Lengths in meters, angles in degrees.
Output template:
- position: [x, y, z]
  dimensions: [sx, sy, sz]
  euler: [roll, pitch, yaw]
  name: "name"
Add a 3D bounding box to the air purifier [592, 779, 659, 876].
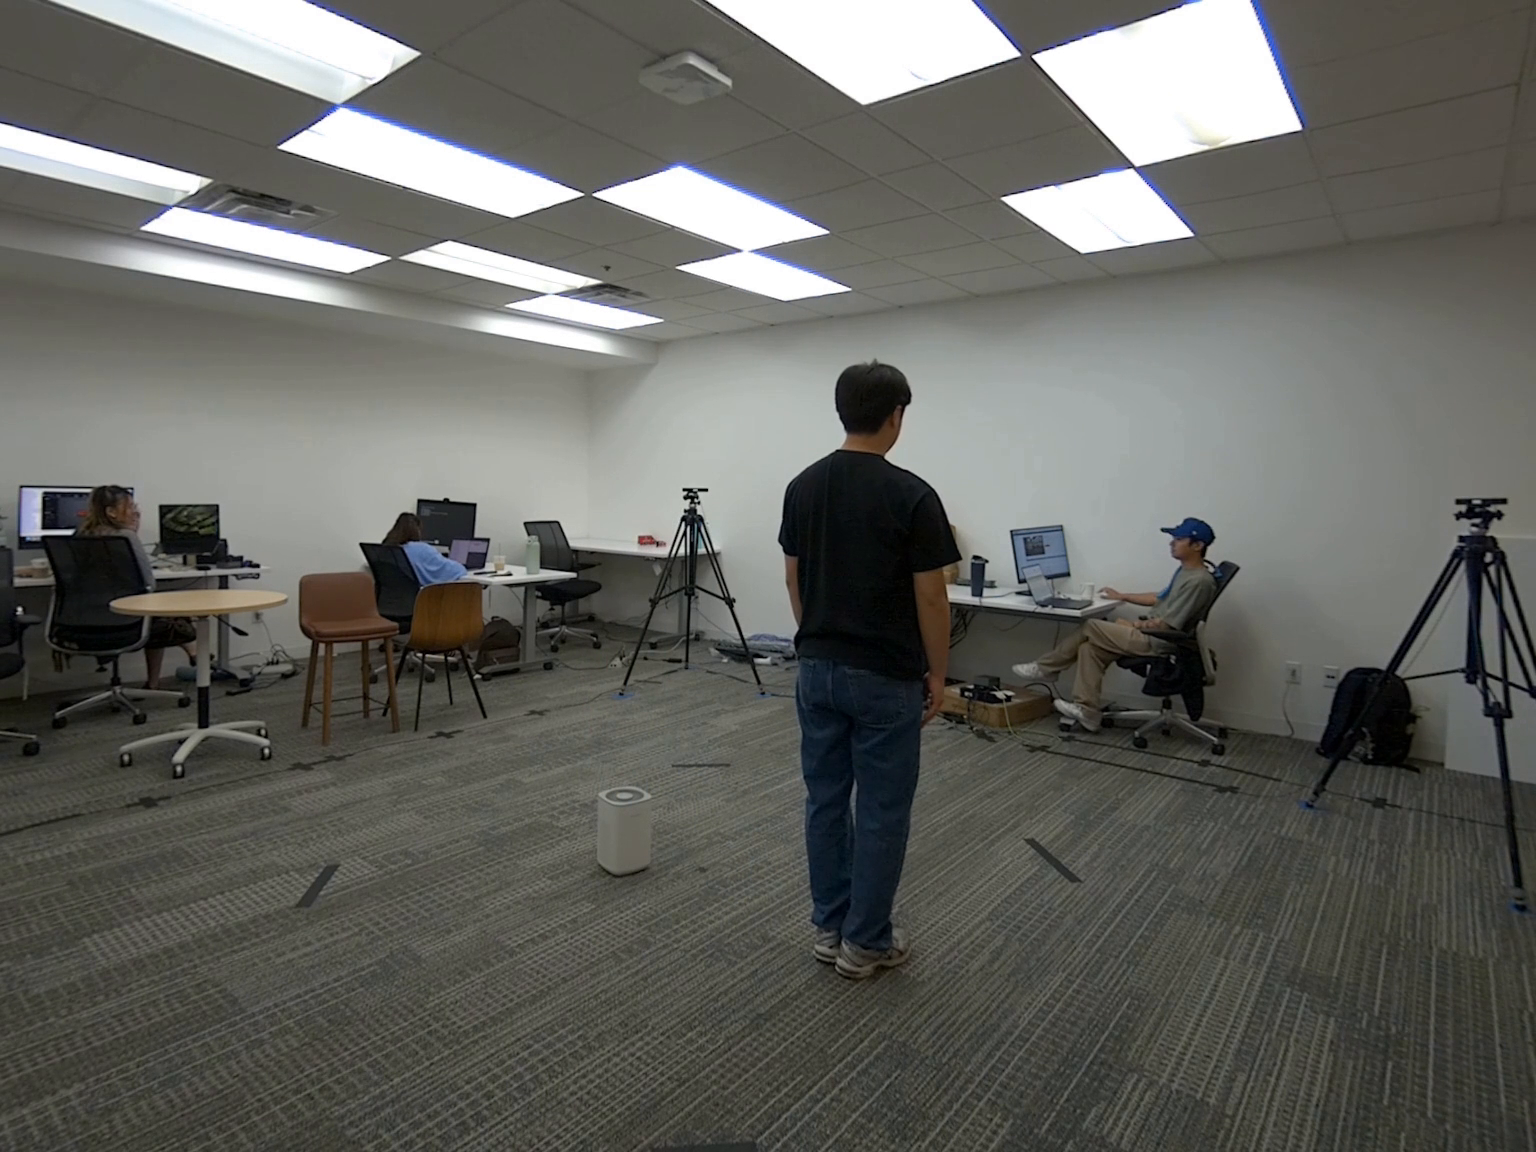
- position: [-0.529, 0.922, 3.113]
  dimensions: [0.166, 0.264, 0.177]
  euler: [-1, 4, -42]
  name: "air purifier"
